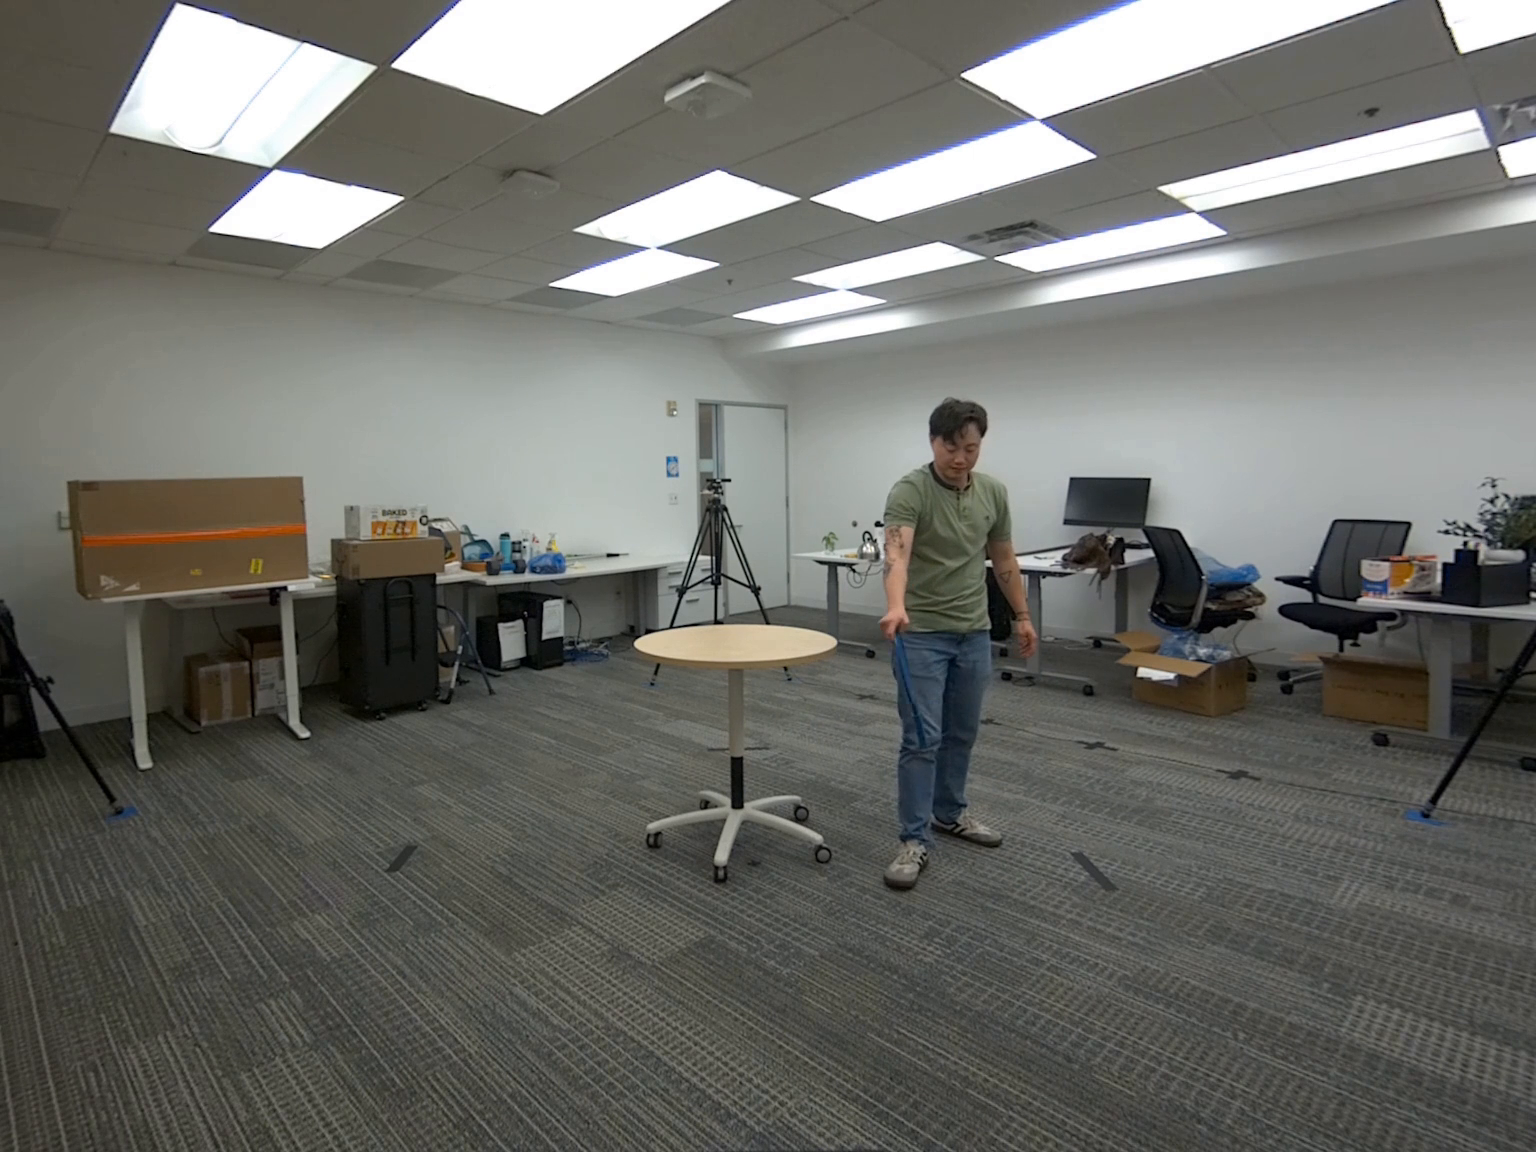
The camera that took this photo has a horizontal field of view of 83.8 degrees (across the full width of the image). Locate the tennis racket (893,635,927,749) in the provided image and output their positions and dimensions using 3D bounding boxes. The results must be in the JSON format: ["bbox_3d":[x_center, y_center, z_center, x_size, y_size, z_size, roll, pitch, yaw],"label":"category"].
[{"bbox_3d":[0.456,0.356,2.754,0.032,0.425,0.215,-14,16,12],"label":"tennis racket"}]
